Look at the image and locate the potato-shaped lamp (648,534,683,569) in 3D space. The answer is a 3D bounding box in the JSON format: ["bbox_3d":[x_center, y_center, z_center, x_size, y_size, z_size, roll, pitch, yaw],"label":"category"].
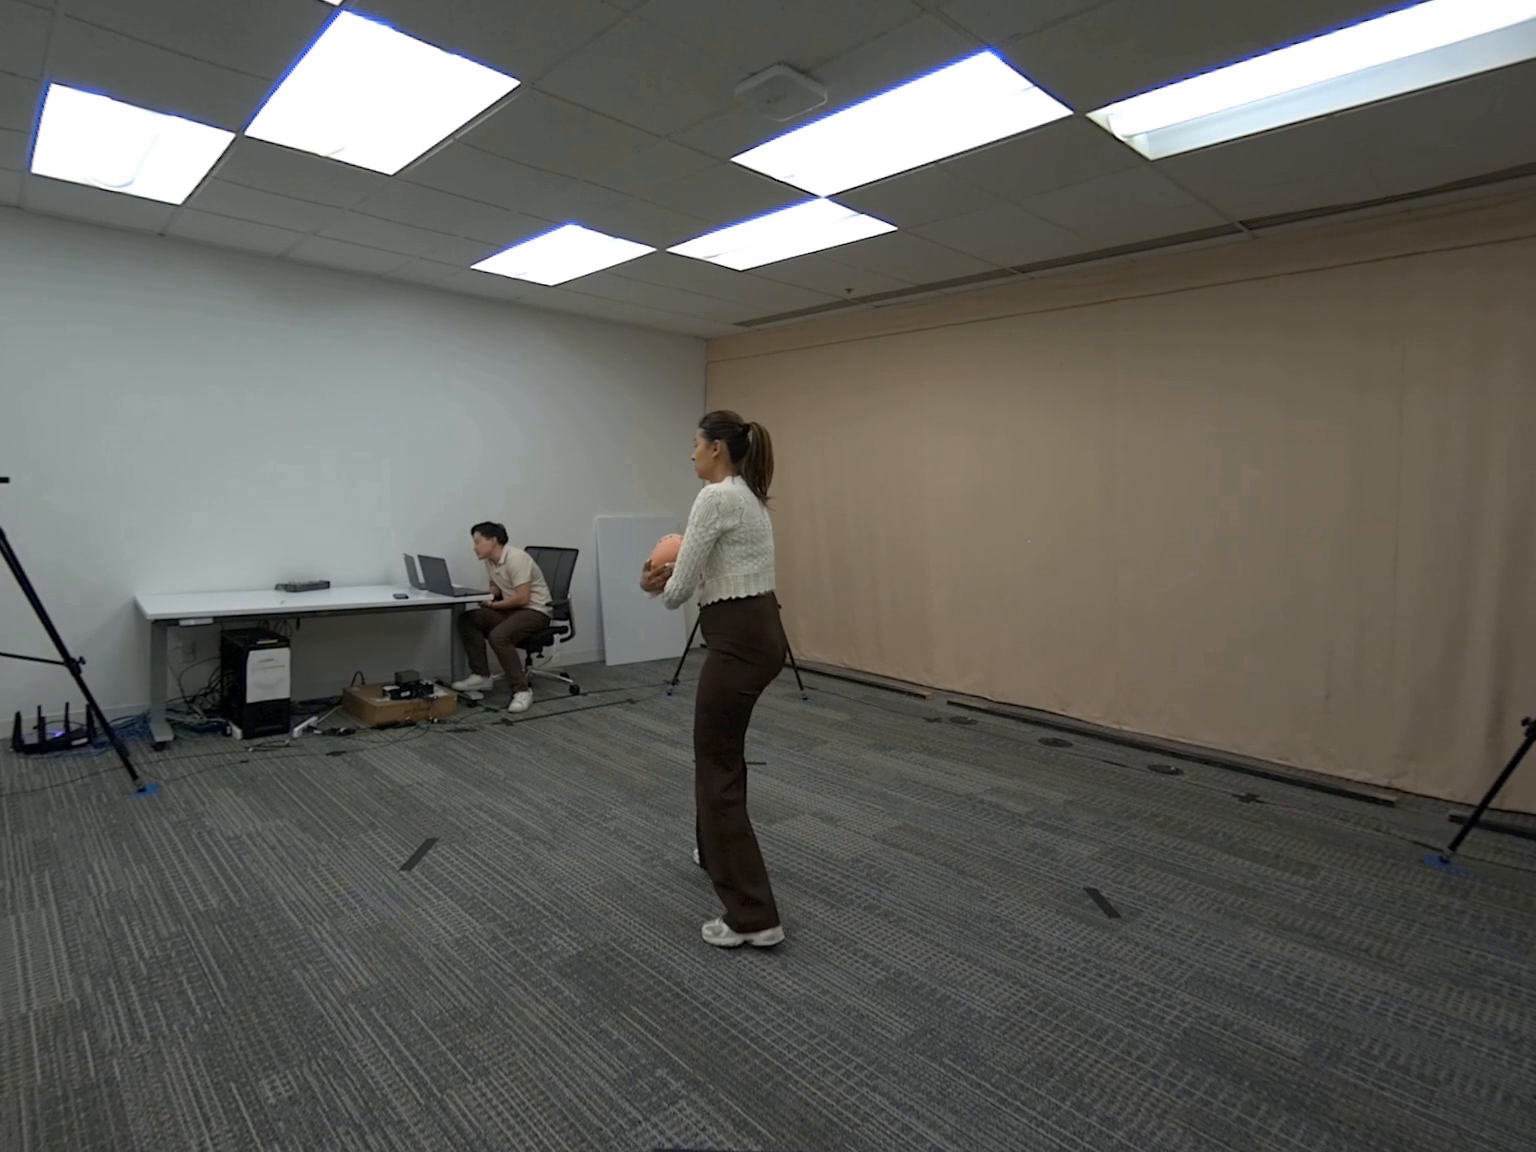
[{"bbox_3d":[-0.329,-0.068,2.907,0.165,0.166,0.203,-23,35,10],"label":"potato-shaped lamp"}]
